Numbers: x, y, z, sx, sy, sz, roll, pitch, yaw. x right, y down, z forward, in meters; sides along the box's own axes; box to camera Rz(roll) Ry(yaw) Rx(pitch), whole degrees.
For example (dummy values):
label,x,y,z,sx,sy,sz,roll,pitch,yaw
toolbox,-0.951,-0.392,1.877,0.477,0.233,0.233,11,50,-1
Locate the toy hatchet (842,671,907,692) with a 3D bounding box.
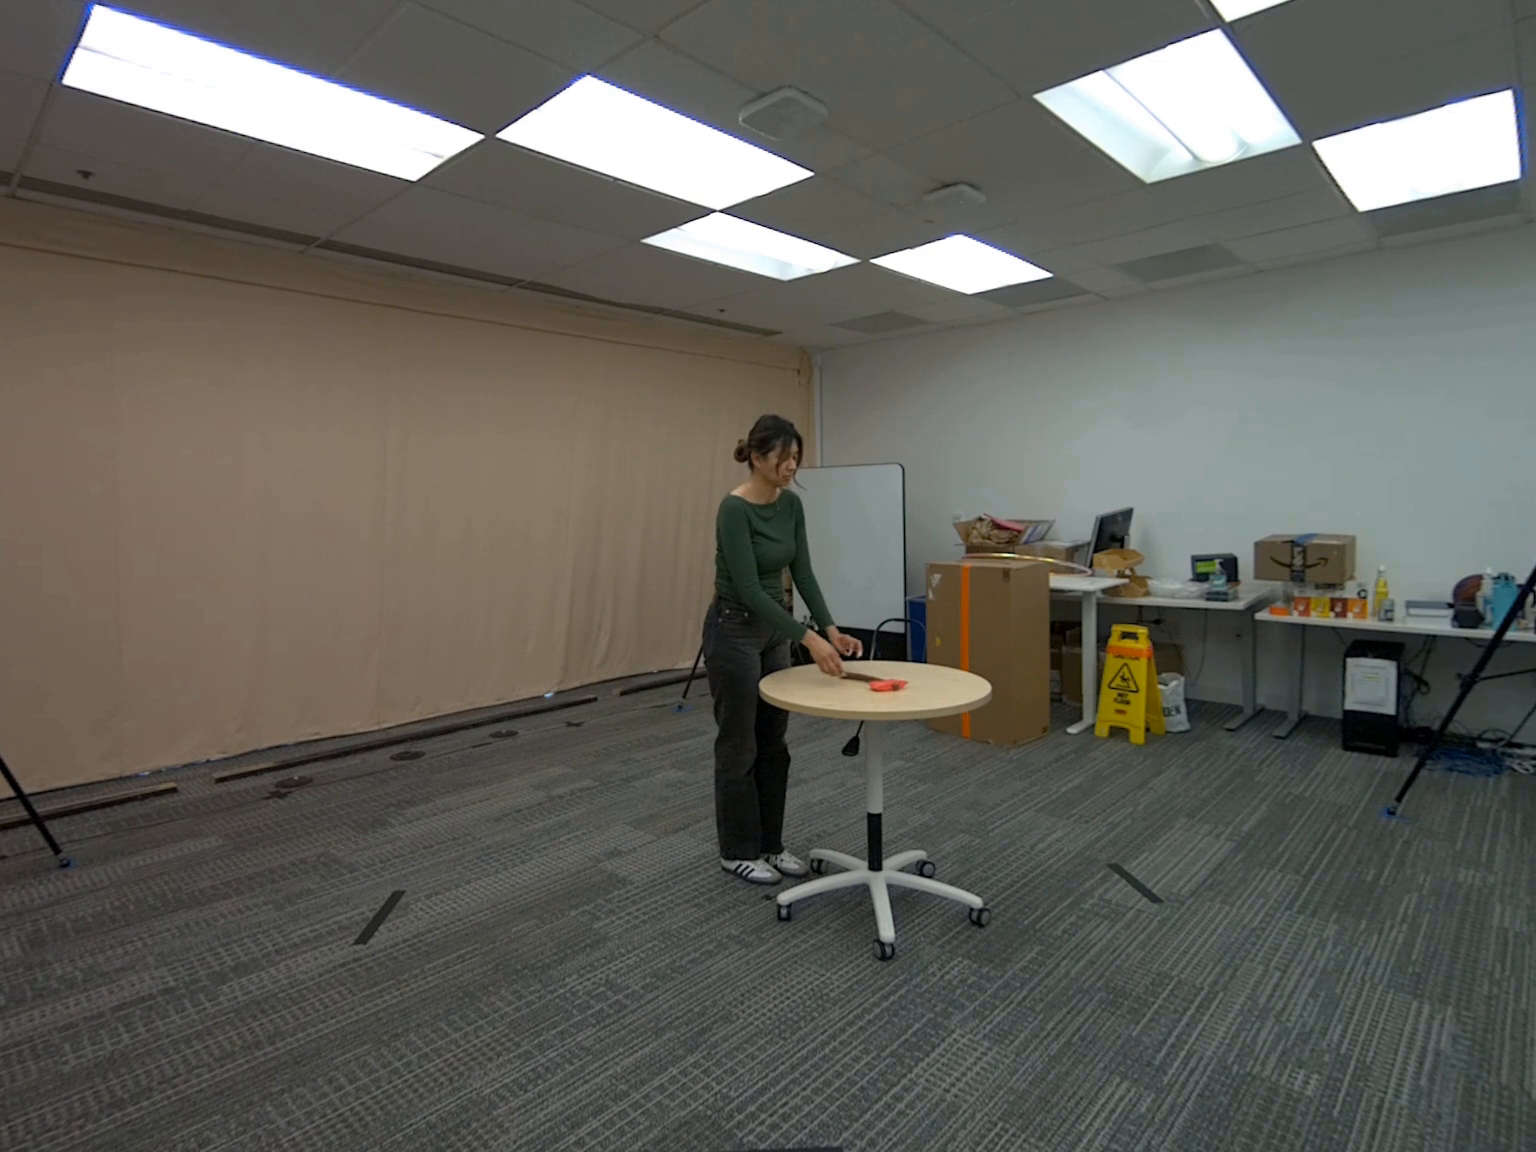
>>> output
label,x,y,z,sx,sy,sz,roll,pitch,yaw
toy hatchet,0.330,0.355,2.808,0.279,0.029,0.127,0,8,45
